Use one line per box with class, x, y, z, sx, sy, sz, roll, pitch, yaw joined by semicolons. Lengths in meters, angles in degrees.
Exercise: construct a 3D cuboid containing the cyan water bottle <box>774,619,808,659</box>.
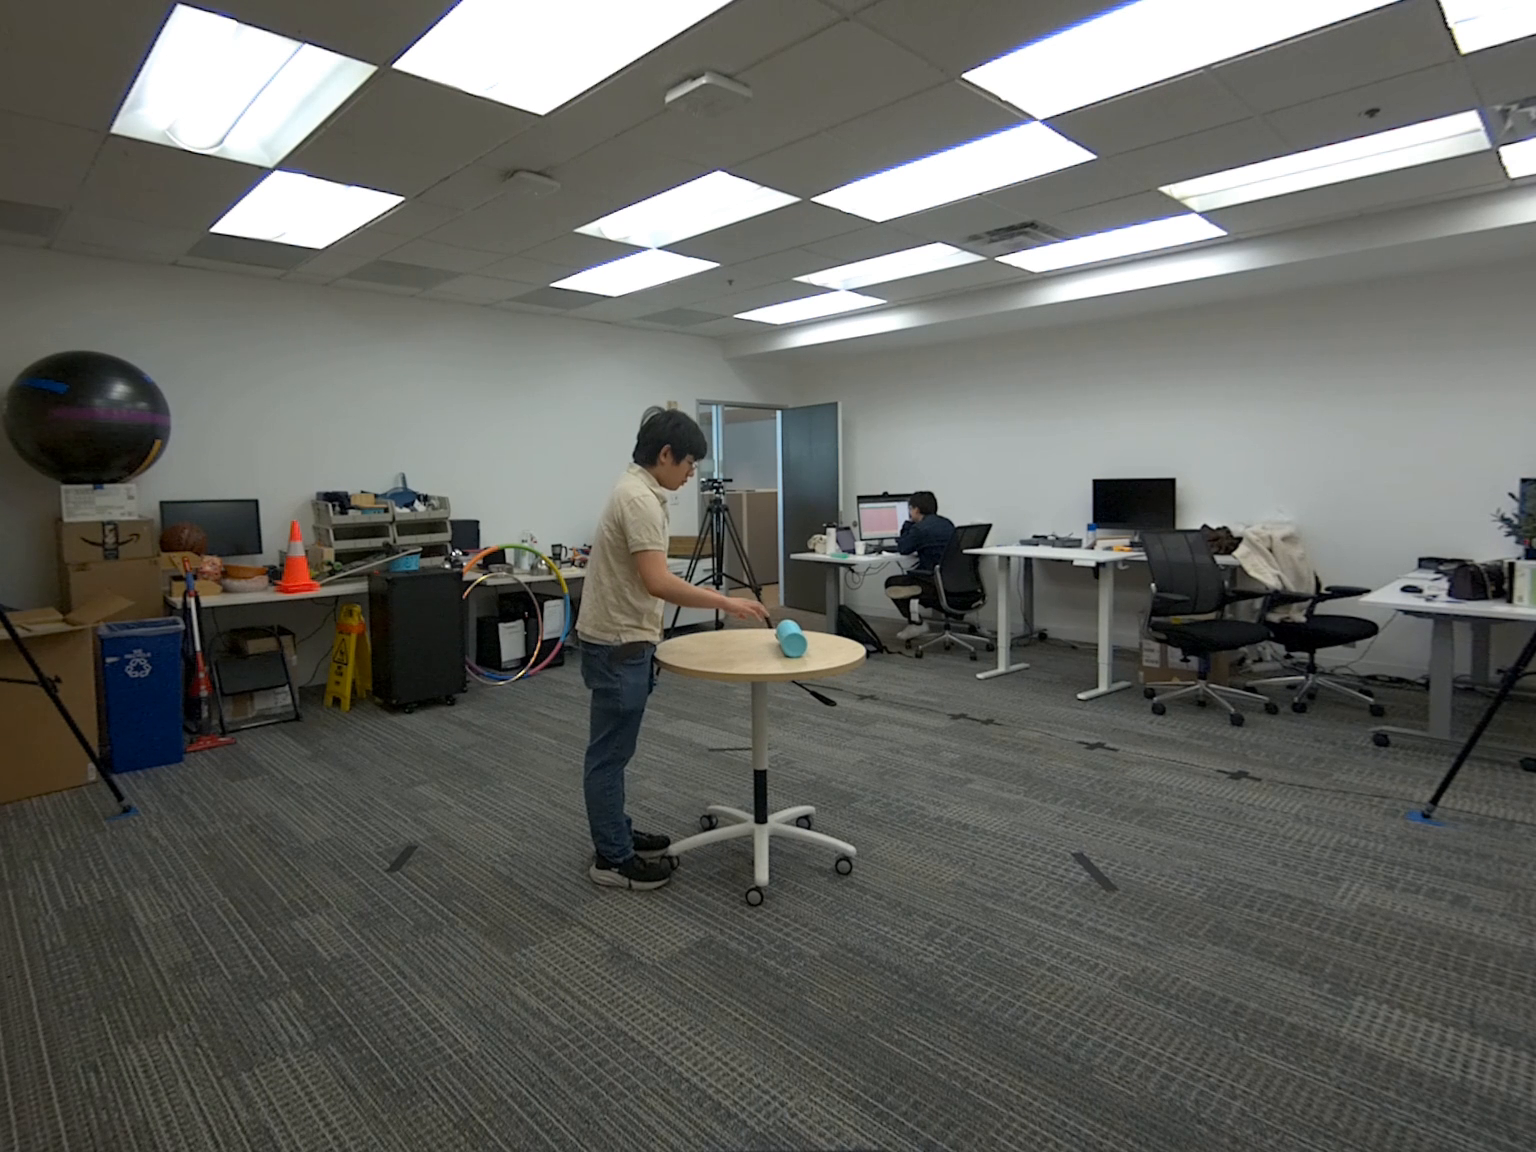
cyan water bottle;0.073;0.215;3.059;0.092;0.092;0.286;-1;7;-4
